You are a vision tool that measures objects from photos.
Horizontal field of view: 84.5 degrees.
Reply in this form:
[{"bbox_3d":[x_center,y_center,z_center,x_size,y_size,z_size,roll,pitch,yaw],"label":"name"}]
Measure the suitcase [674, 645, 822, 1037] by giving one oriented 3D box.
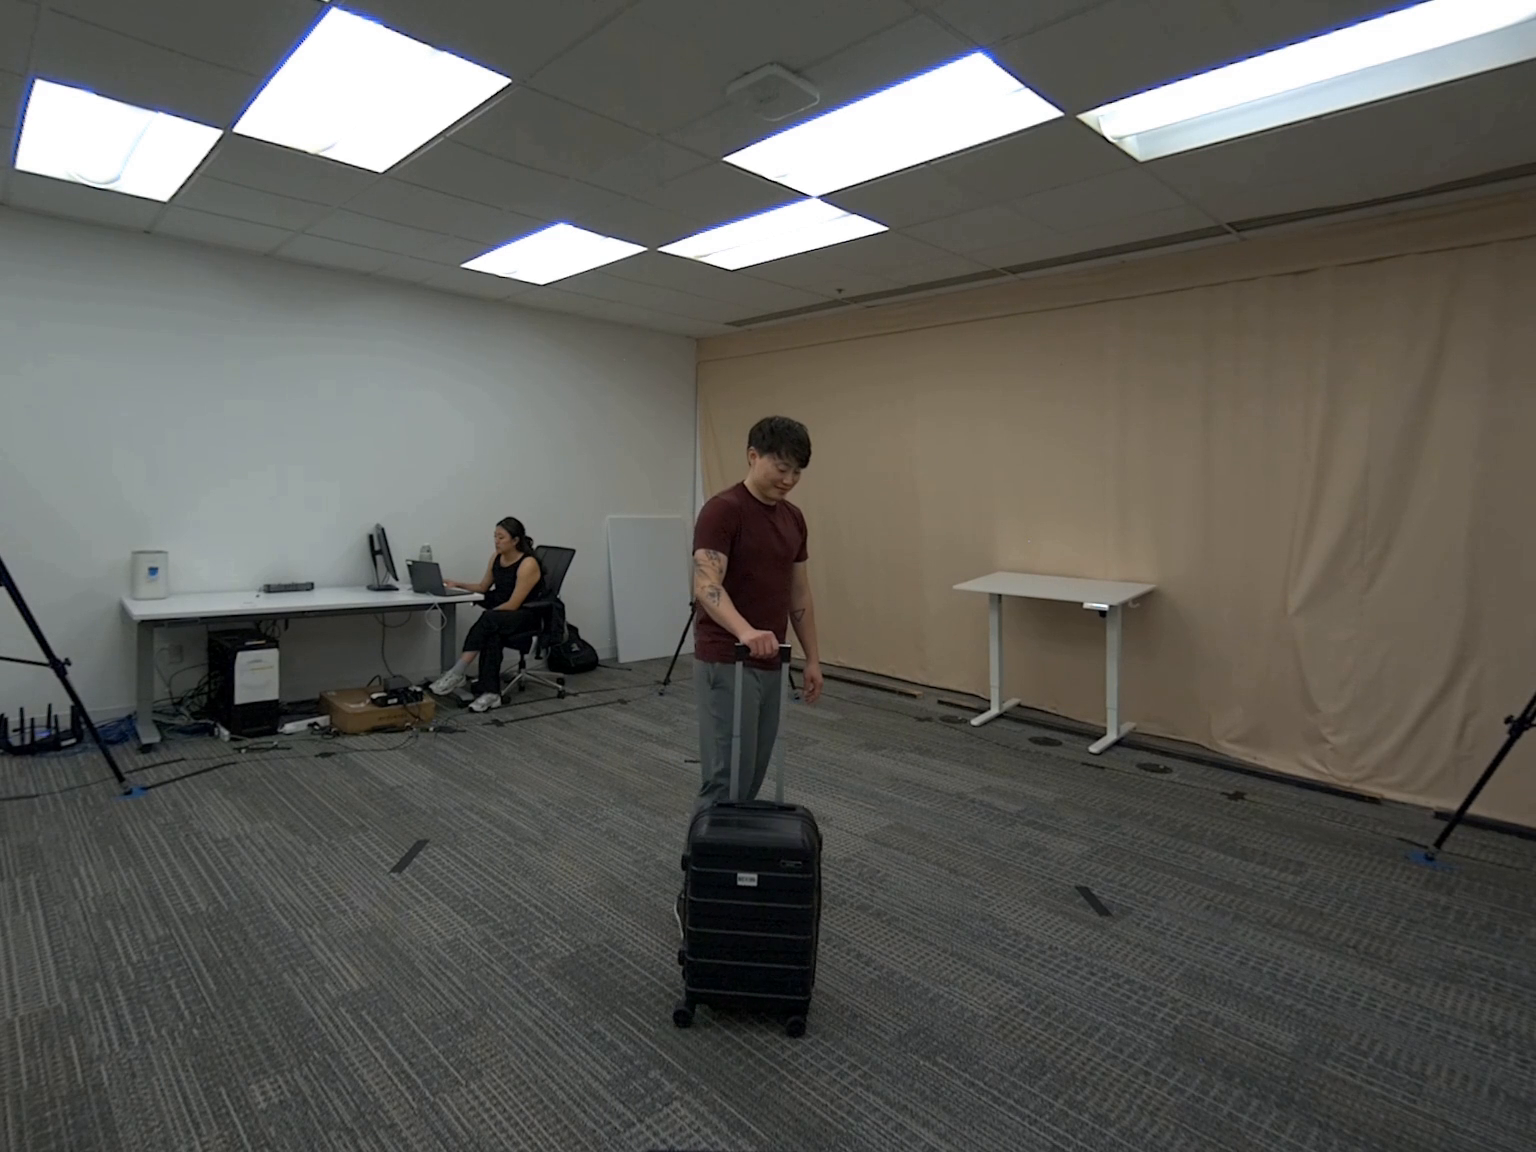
[{"bbox_3d":[-0.042,0.709,2.274,0.385,0.975,0.257,3,5,3],"label":"suitcase"}]
